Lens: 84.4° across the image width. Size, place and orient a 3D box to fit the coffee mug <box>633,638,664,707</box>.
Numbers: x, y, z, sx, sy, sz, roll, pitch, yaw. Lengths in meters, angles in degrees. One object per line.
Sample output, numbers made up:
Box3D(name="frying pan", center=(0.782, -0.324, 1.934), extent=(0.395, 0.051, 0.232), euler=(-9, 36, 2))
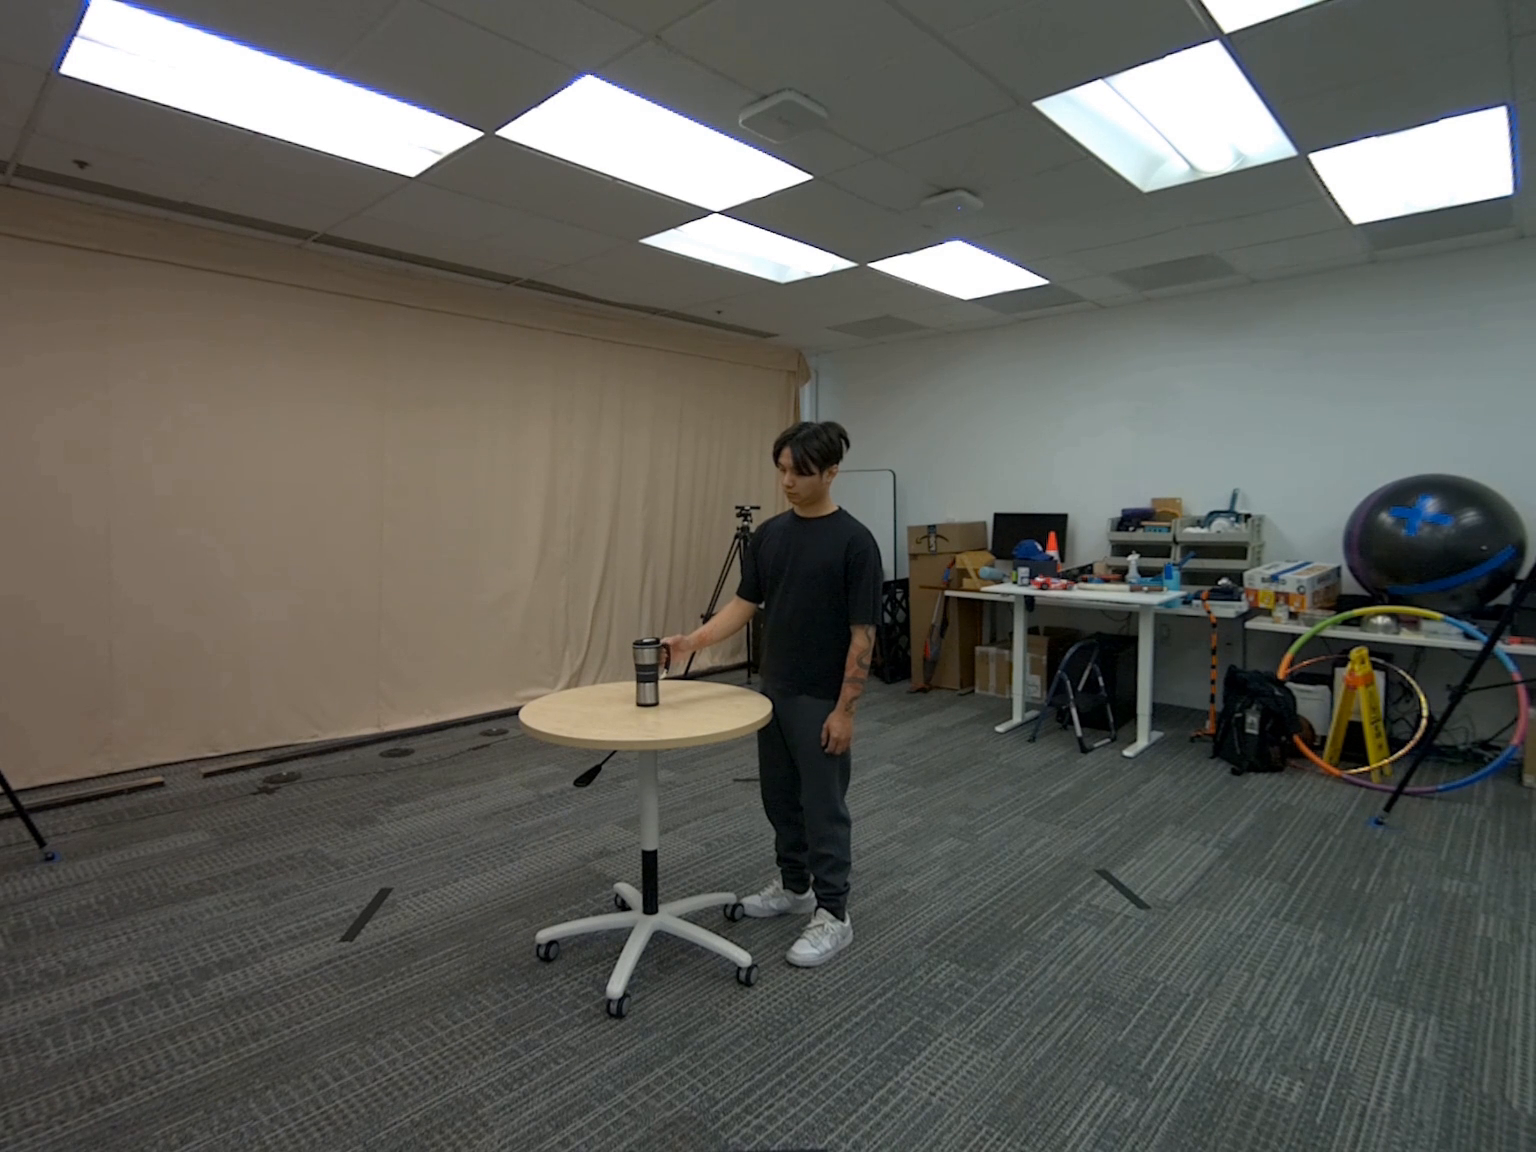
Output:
Box3D(name="coffee mug", center=(-0.352, 0.302, 2.574), extent=(0.126, 0.203, 0.085), euler=(-1, -4, 38))
